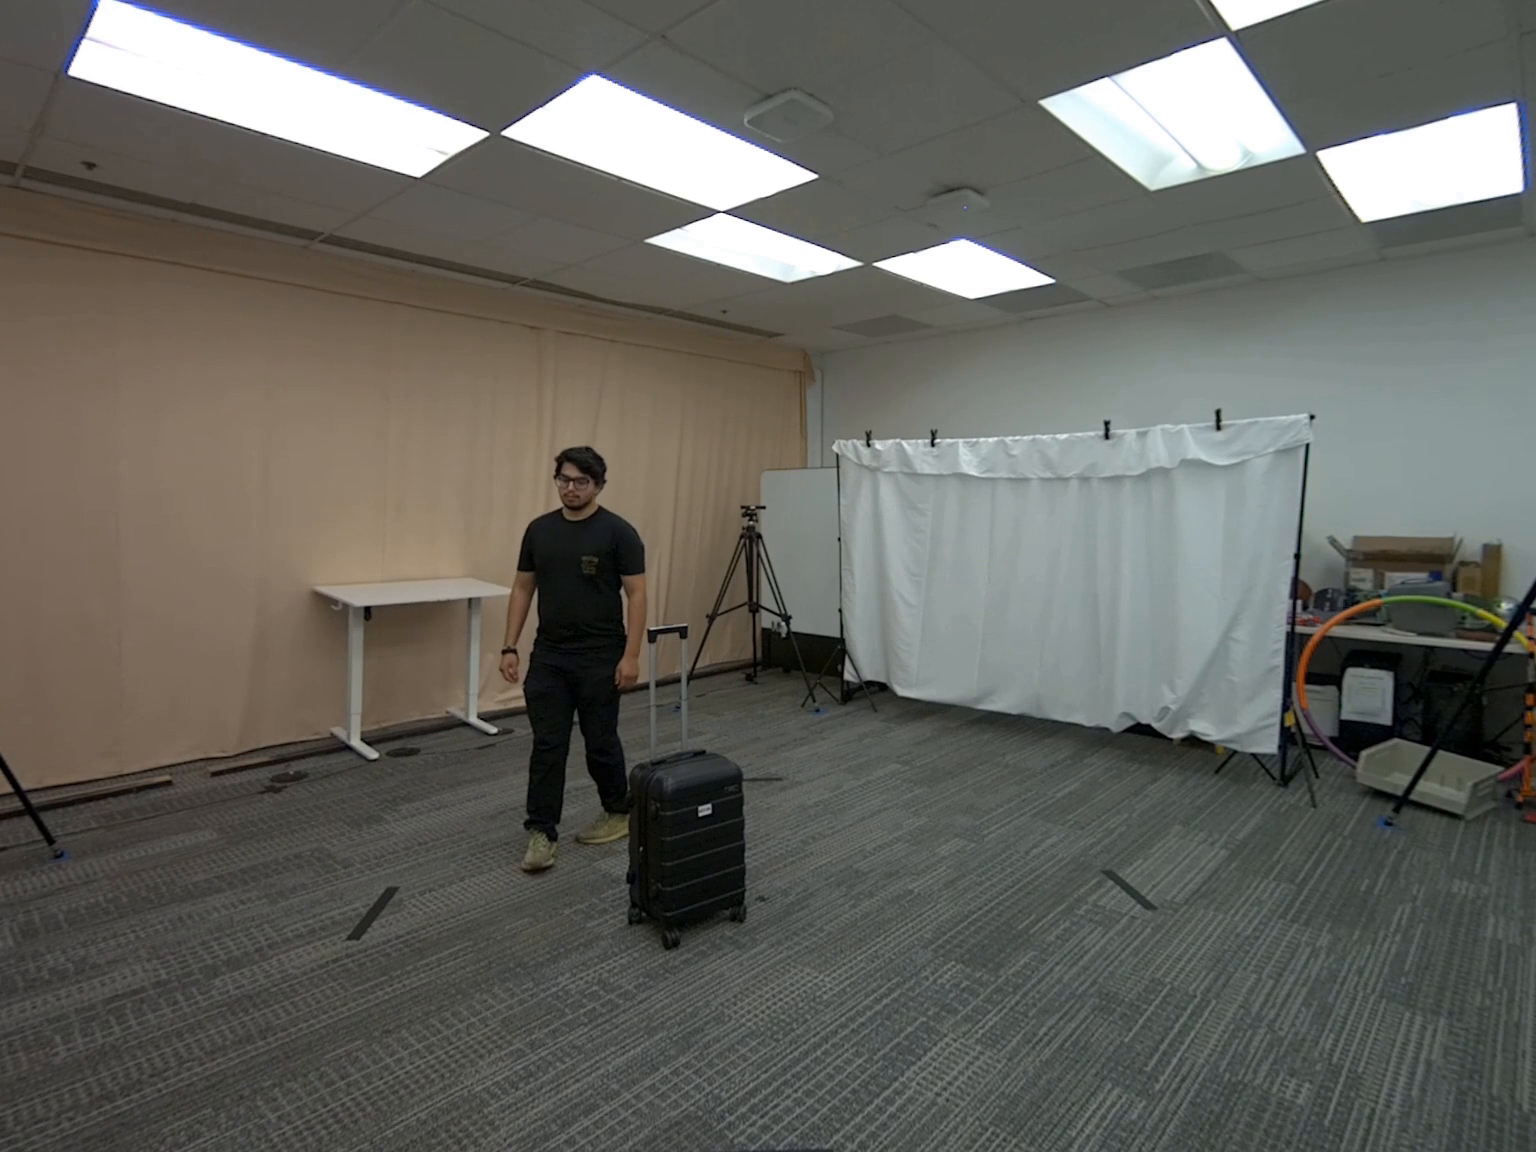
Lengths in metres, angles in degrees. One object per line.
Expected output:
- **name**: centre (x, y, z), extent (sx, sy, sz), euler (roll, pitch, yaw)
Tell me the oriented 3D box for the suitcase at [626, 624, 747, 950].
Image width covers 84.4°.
- **suitcase**: centre (-0.268, 0.680, 2.816), extent (0.373, 0.976, 0.265), euler (-3, 4, -37)
